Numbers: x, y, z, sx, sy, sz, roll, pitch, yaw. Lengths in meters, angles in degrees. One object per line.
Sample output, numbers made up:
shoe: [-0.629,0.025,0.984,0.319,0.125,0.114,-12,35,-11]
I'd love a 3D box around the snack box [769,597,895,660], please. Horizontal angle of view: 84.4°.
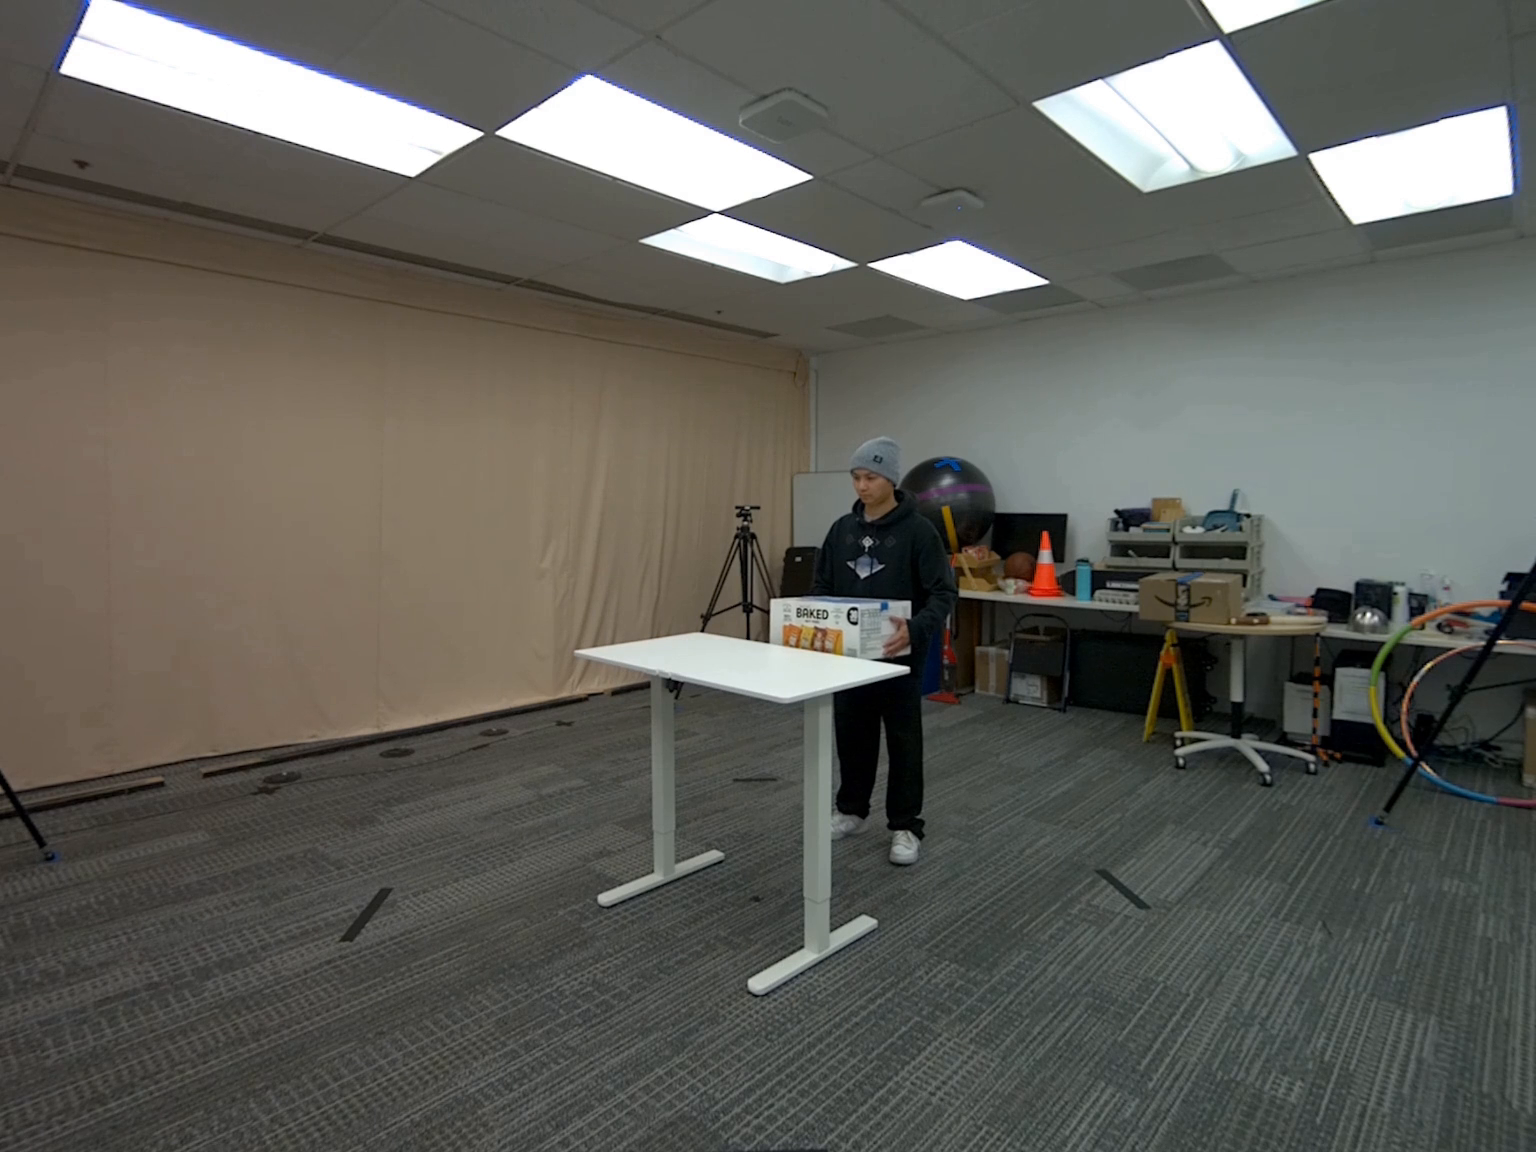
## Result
snack box: [0.273,0.189,3.185,0.418,0.205,0.329,3,2,42]
